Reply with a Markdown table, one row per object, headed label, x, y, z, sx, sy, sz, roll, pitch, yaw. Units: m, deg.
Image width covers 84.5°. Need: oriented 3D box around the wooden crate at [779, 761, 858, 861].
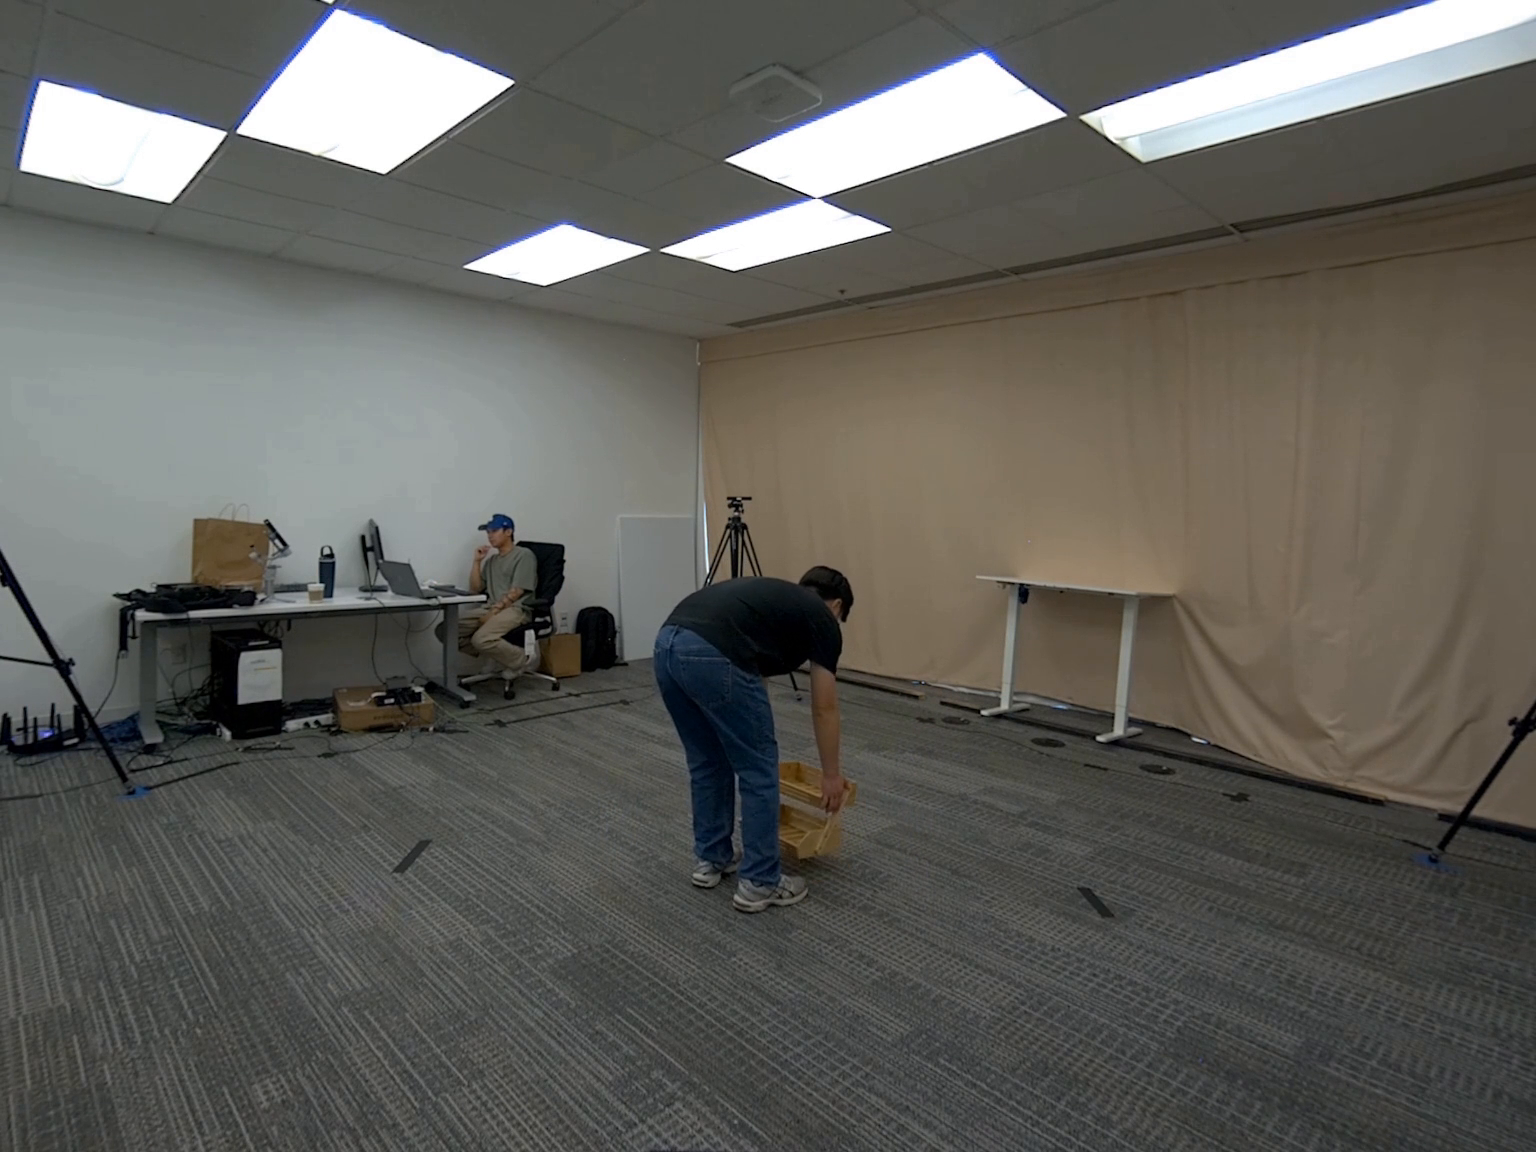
| label | x | y | z | sx | sy | sz | roll | pitch | yaw |
| --- | --- | --- | --- | --- | --- | --- | --- | --- | --- |
| wooden crate | 0.109 | 0.876 | 3.227 | 0.294 | 0.273 | 0.333 | 9 | -1 | -45 |
